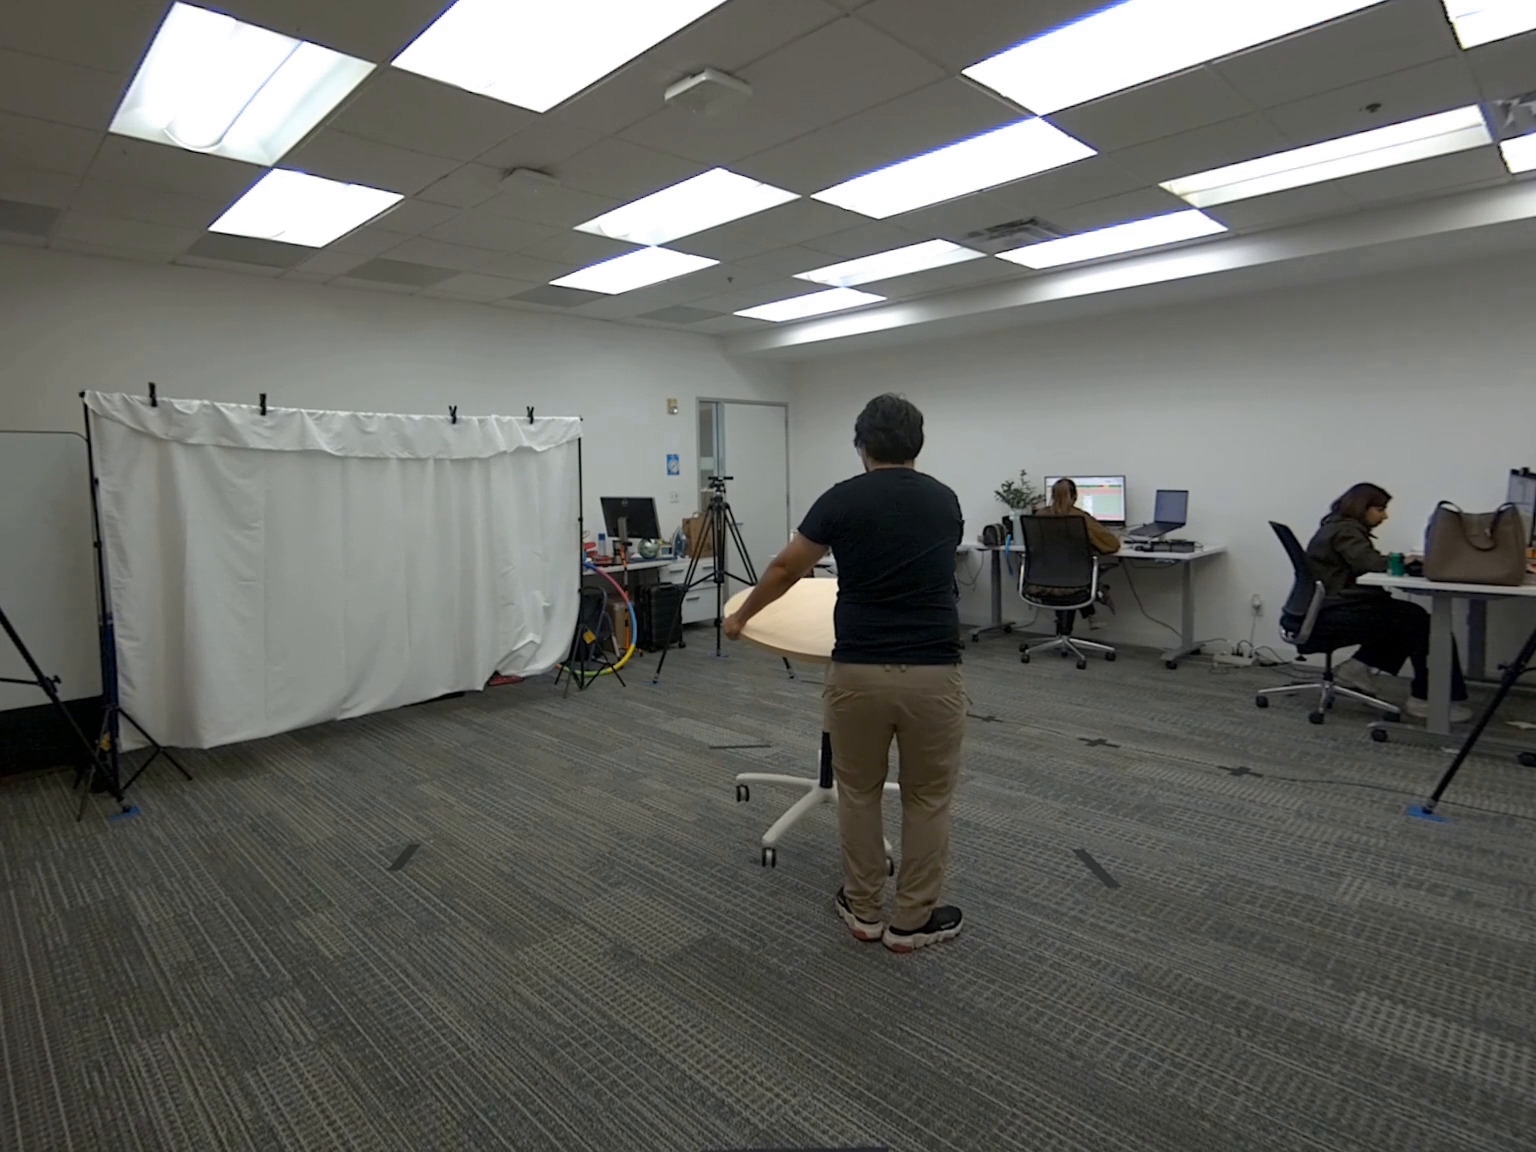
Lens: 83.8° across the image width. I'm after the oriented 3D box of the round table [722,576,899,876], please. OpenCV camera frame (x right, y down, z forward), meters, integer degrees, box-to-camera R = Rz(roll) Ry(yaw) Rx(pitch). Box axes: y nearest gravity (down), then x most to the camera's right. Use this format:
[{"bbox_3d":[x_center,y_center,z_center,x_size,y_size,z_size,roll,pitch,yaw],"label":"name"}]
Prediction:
[{"bbox_3d":[0.210,0.510,3.022,0.784,0.776,0.796,1,15,-2],"label":"round table"}]
